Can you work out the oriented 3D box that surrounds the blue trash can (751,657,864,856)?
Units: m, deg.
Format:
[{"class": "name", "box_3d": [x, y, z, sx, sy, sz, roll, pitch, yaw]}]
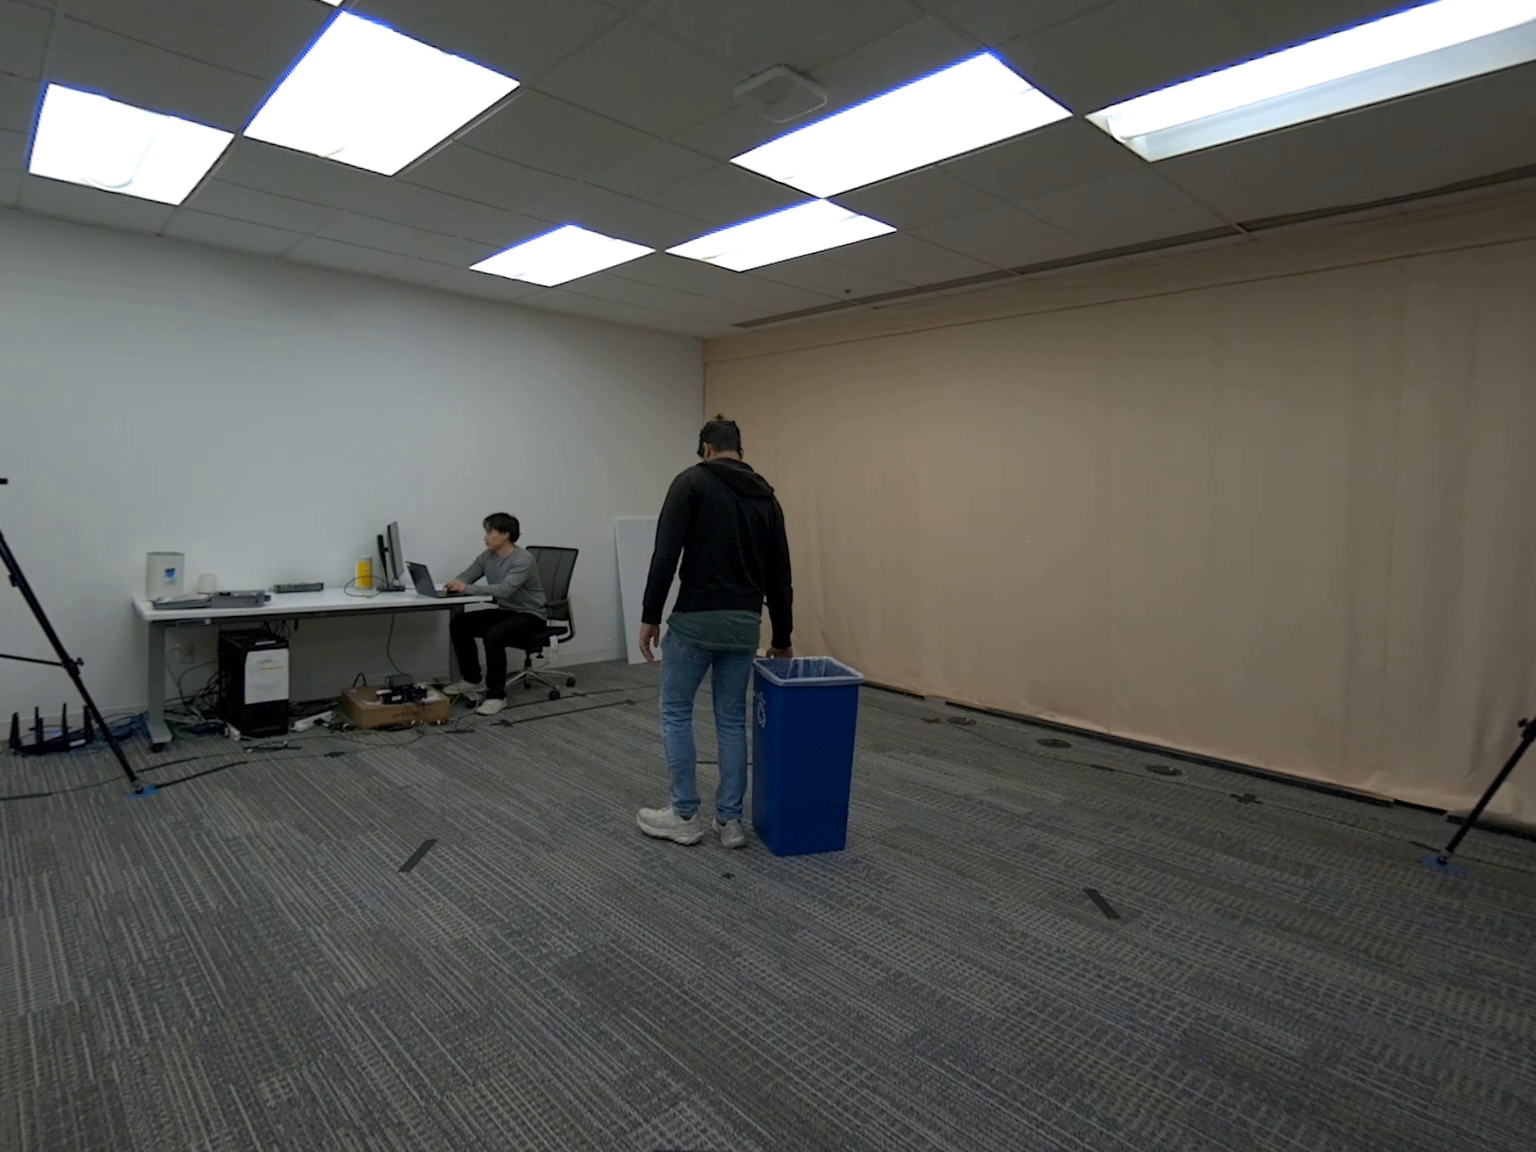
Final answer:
[{"class": "blue trash can", "box_3d": [0.127, 0.723, 3.417, 0.369, 0.711, 0.385, 1, 6, -19]}]
